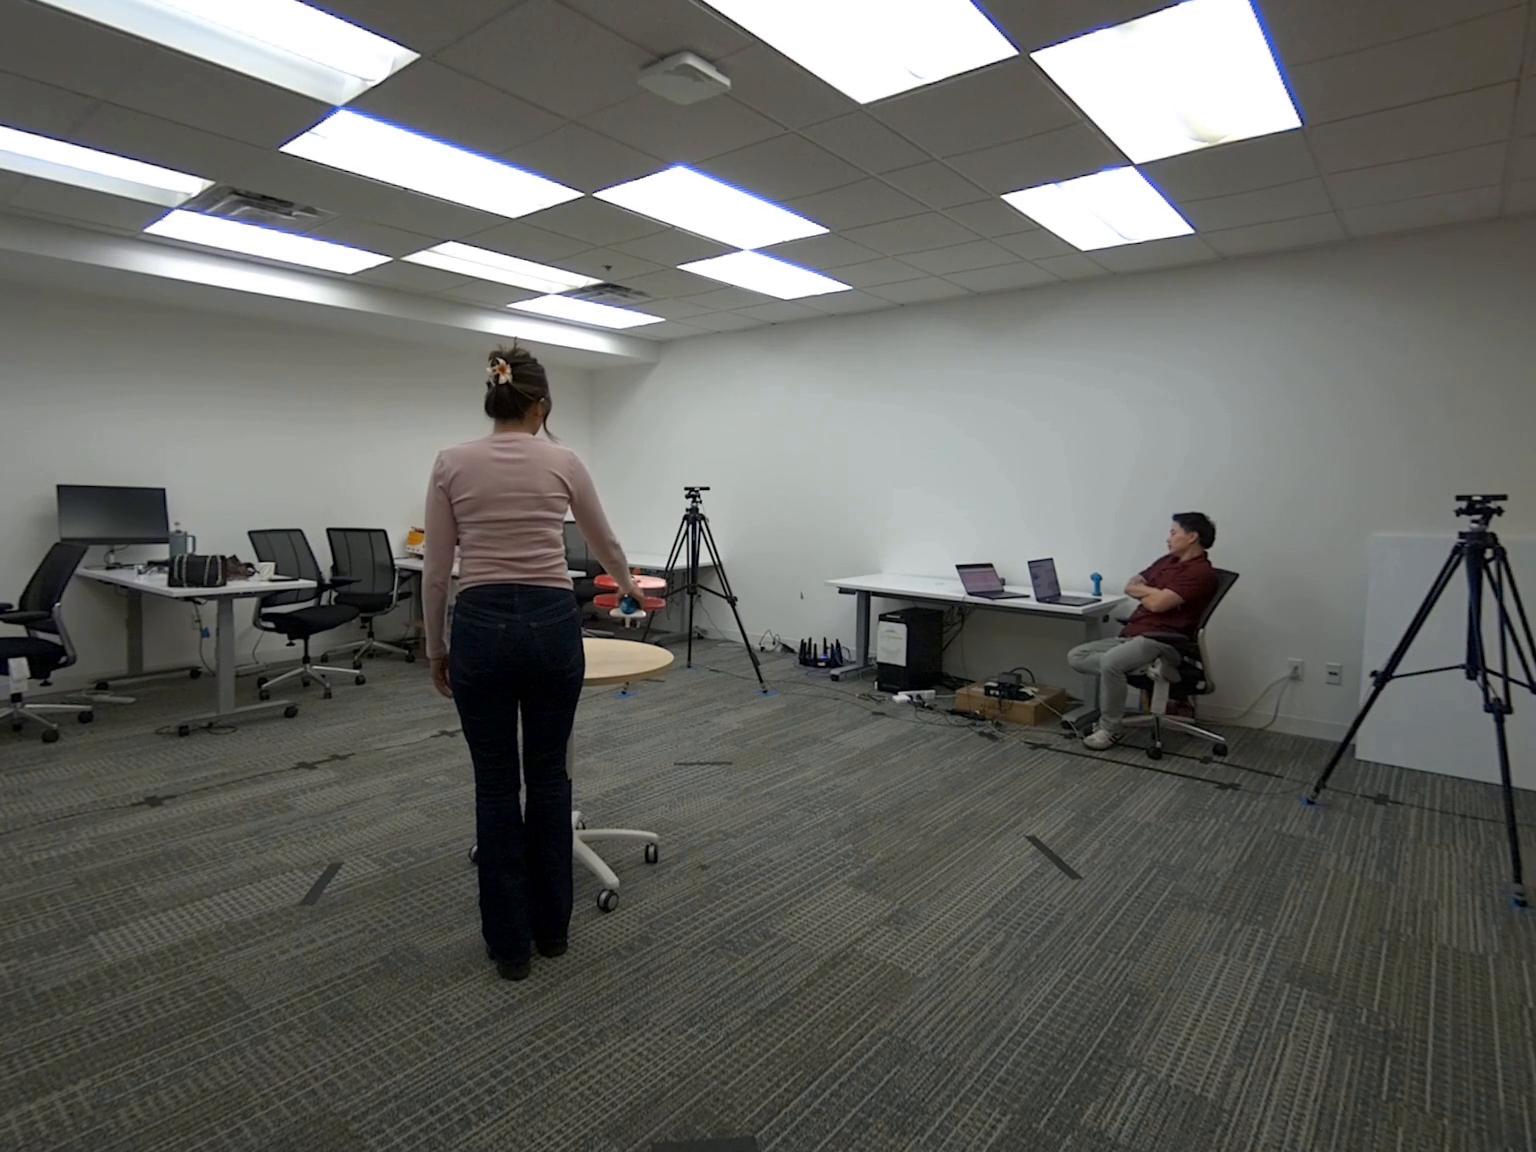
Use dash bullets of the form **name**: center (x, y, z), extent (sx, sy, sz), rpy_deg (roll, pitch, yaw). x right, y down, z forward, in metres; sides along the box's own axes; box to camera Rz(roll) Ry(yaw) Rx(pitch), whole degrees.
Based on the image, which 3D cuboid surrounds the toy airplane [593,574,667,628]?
- **toy airplane**: center (-0.479, 0.086, 2.993), extent (0.244, 0.155, 0.269), rpy_deg (-4, 13, -34)
